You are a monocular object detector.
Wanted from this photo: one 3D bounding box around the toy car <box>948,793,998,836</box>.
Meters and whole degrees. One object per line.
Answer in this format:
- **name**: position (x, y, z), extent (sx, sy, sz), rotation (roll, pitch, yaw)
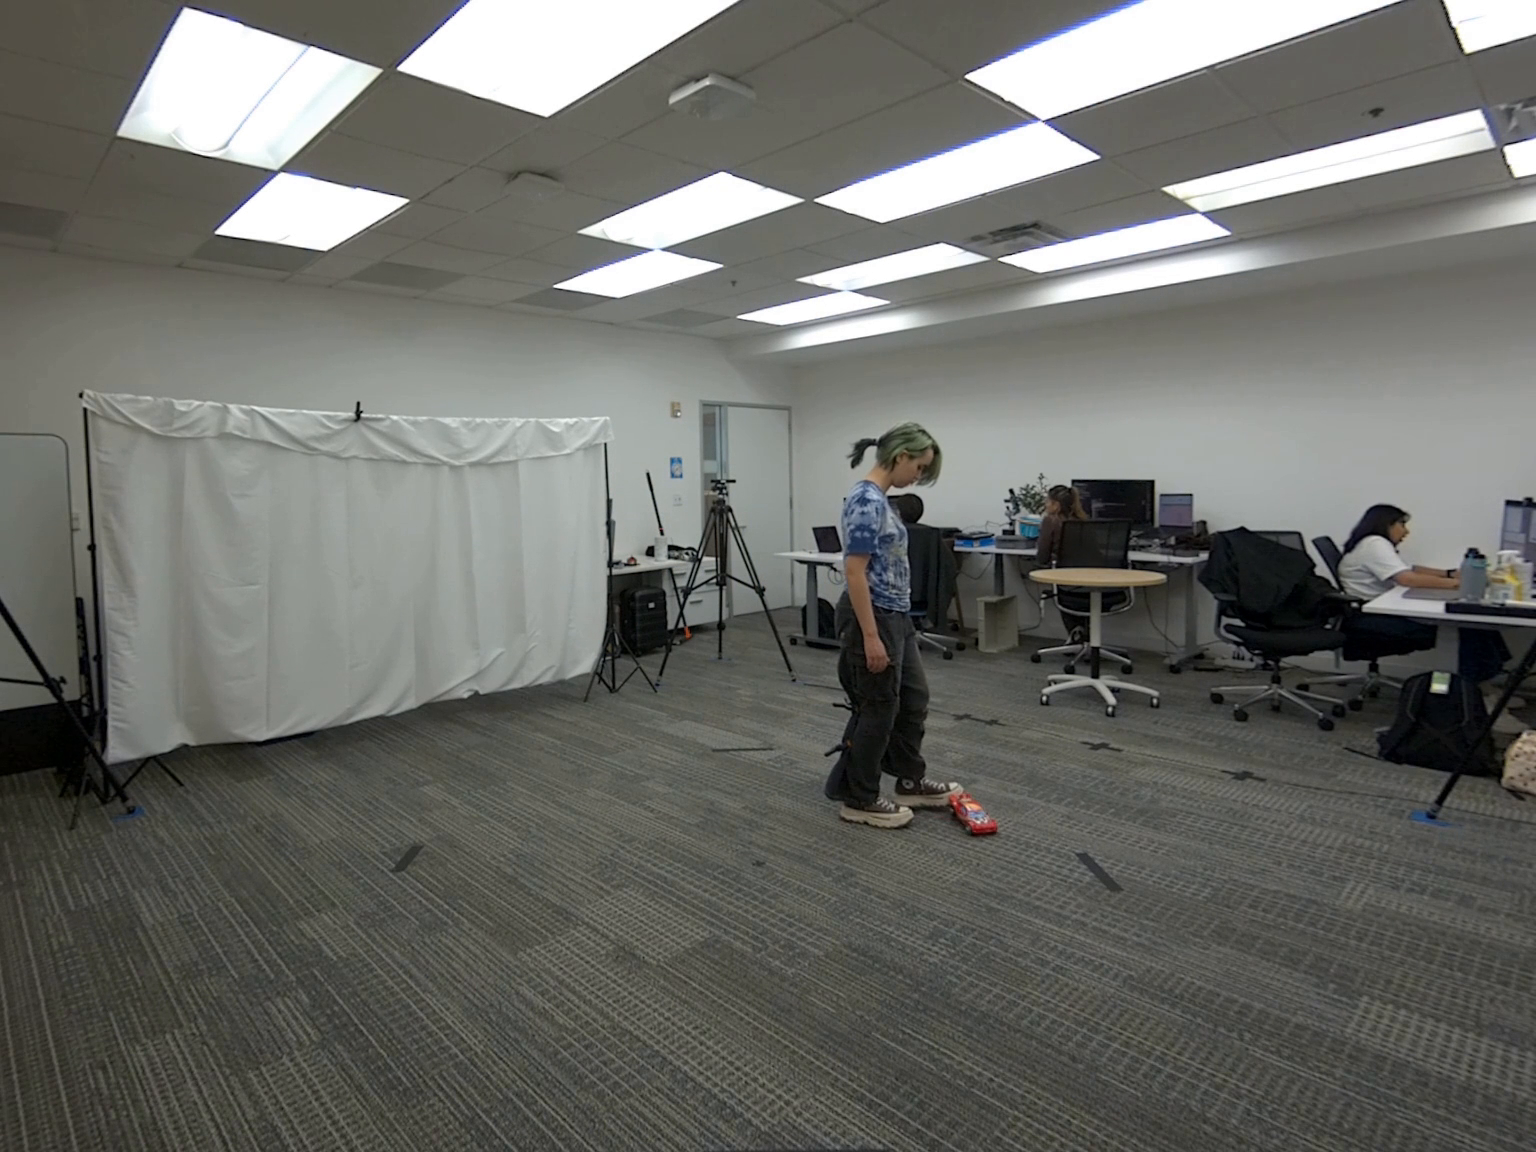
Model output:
- **toy car**: position (0.815, 0.958, 3.421), extent (0.129, 0.082, 0.261), rotation (-2, 21, -10)
